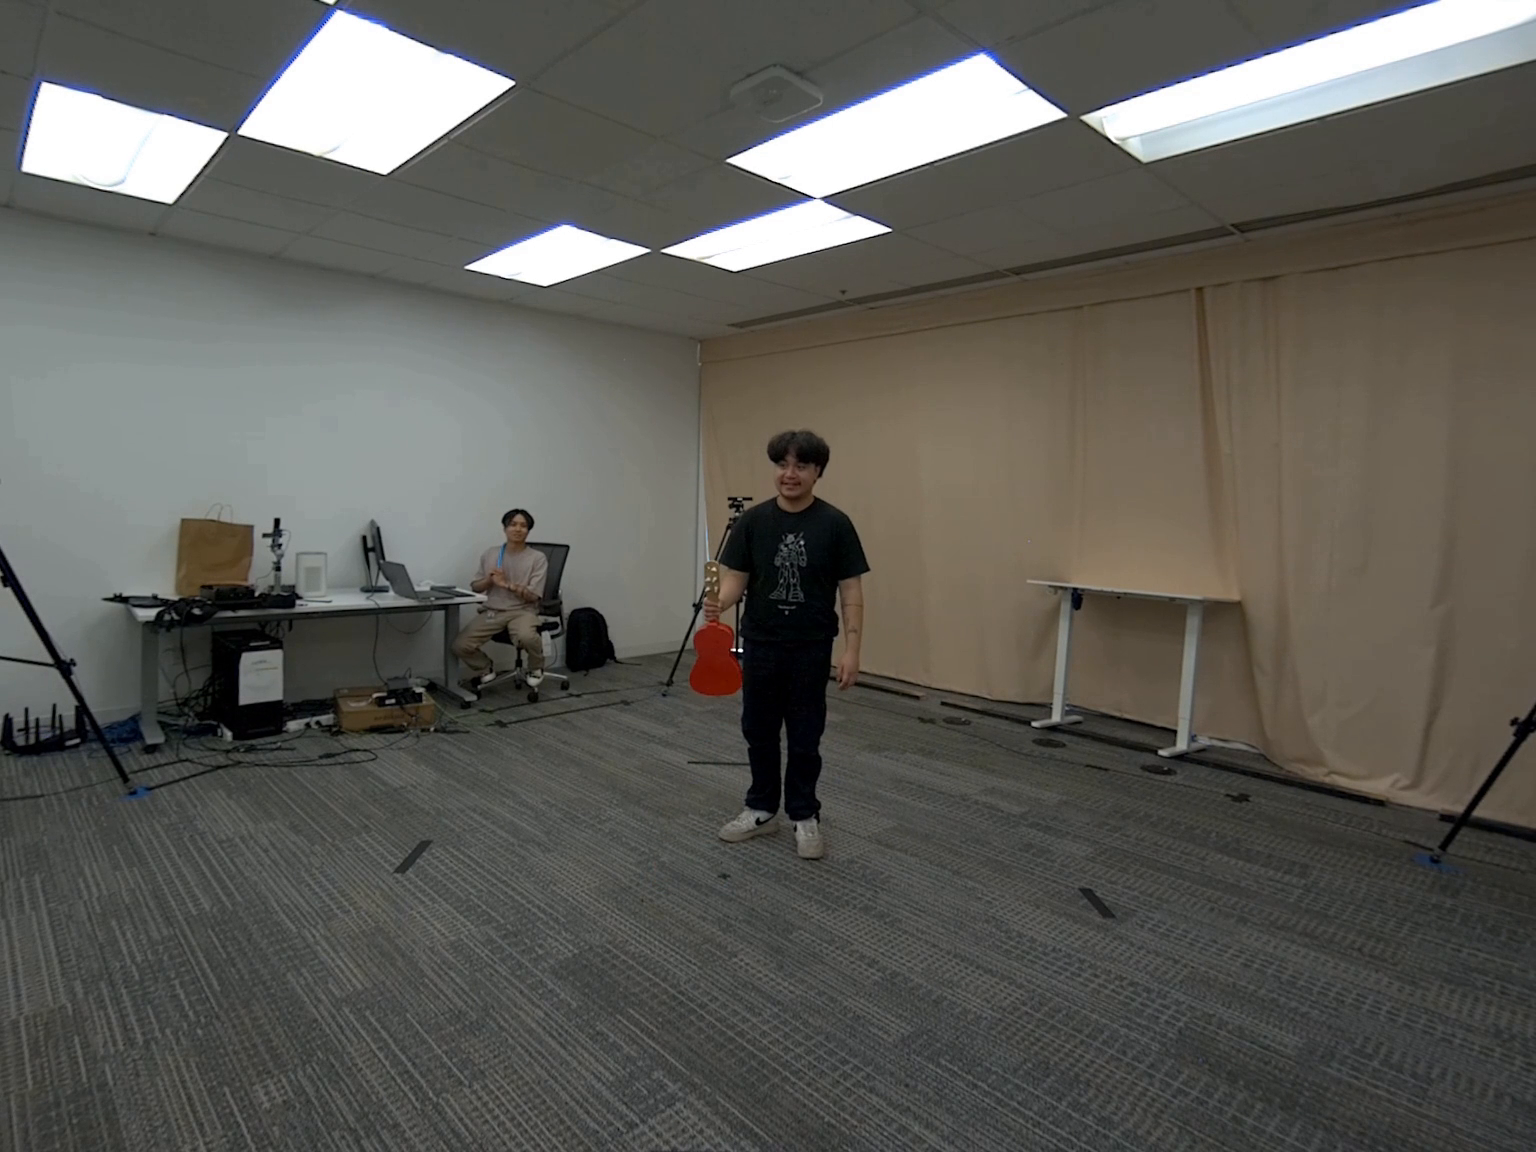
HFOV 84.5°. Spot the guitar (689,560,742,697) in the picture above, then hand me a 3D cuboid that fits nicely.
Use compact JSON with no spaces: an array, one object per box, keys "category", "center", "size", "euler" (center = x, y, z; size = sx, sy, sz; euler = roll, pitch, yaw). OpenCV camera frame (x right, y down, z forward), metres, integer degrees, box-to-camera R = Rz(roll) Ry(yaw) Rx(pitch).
[{"category":"guitar","center":[-0.224,0.208,3.089],"size":[0.194,0.493,0.071],"euler":[-6,11,10]}]
